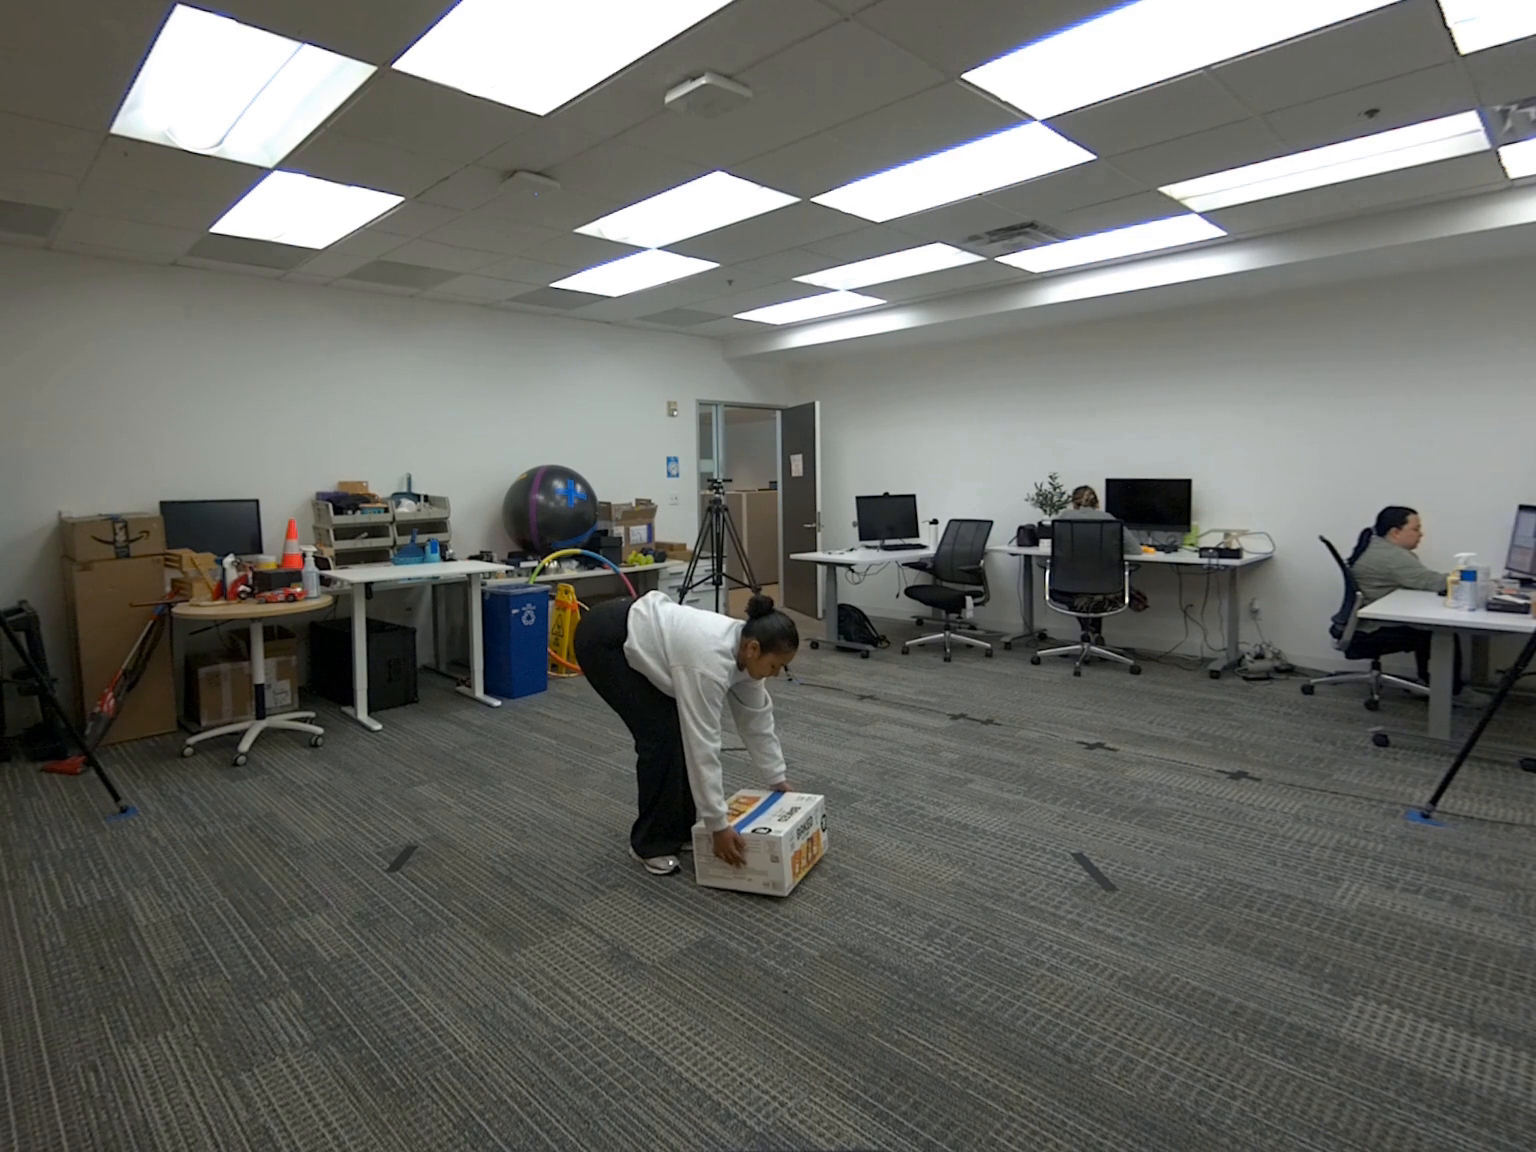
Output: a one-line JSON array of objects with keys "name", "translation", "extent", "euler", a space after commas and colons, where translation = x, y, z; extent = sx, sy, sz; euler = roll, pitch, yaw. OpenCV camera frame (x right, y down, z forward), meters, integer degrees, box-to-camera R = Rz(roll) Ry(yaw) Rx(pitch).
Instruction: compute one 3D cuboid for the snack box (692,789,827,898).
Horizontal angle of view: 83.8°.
[{"name": "snack box", "translation": [-0.020, 0.932, 3.037], "extent": [0.348, 0.205, 0.398], "euler": [-3, 5, 25]}]
